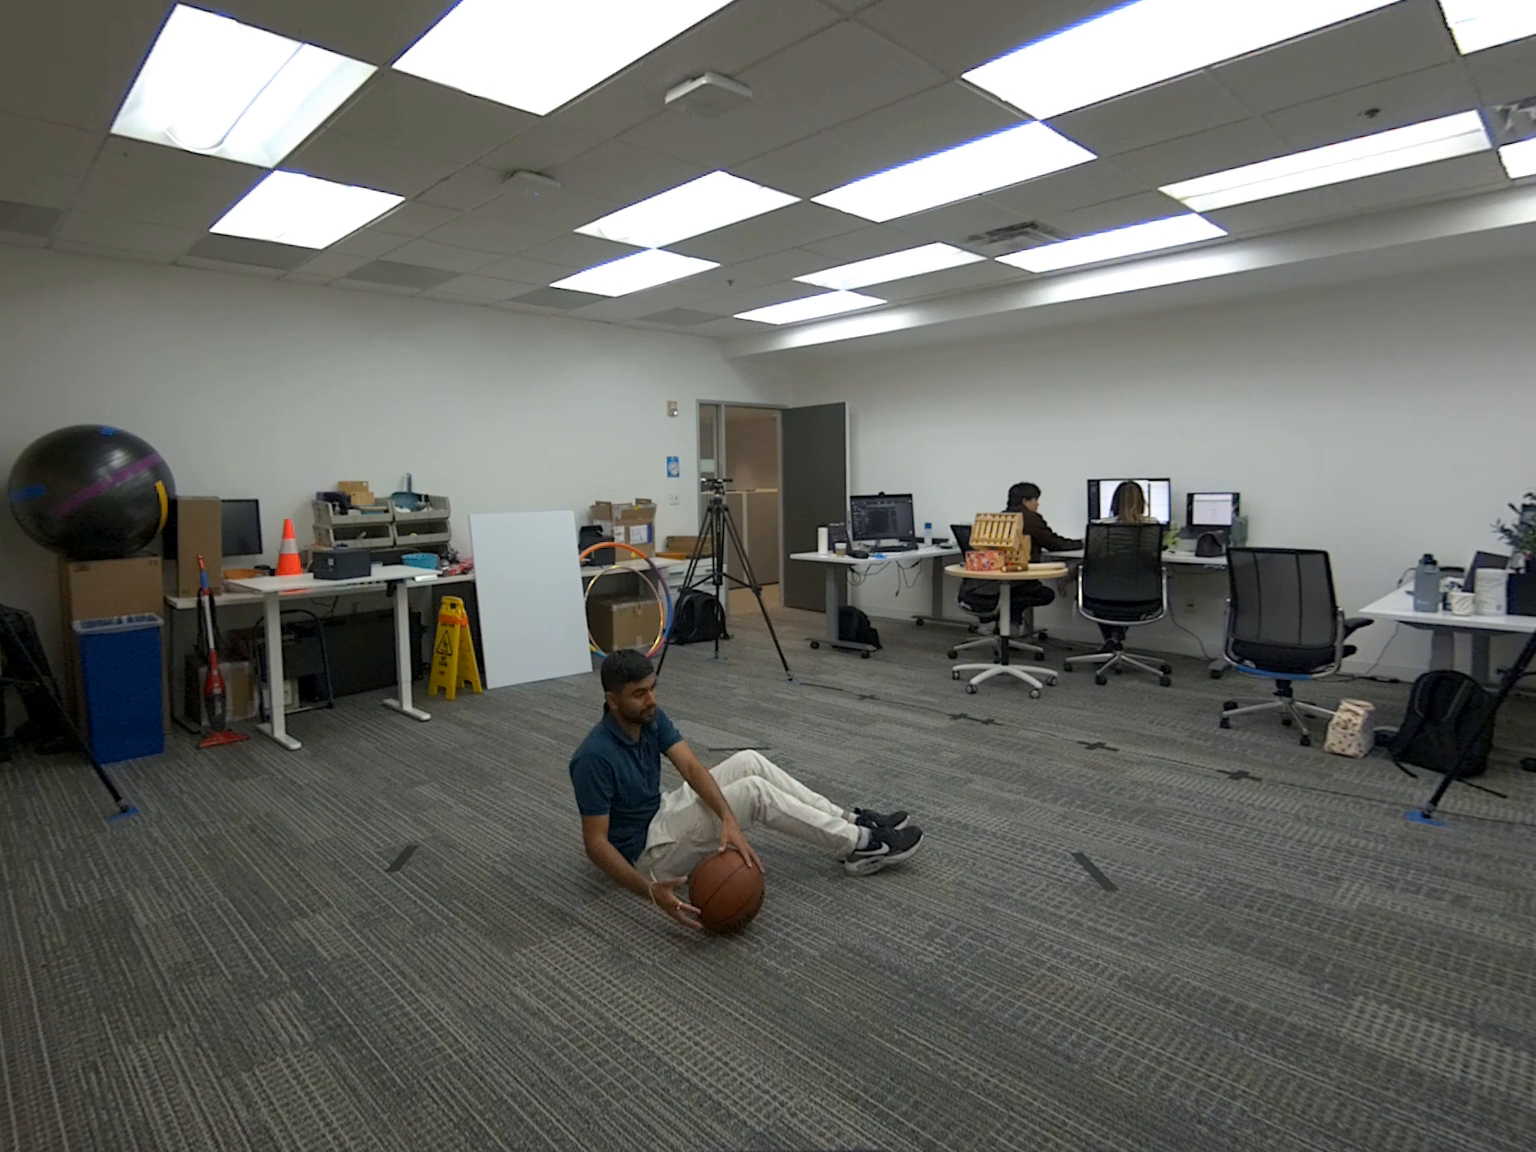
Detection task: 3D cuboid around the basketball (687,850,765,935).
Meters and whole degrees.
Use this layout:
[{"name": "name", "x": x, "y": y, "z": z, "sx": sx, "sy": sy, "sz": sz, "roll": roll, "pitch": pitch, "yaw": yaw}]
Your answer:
[{"name": "basketball", "x": -0.136, "y": 0.974, "z": 2.669, "sx": 0.236, "sy": 0.235, "sz": 0.237, "roll": -1, "pitch": 5, "yaw": -2}]
